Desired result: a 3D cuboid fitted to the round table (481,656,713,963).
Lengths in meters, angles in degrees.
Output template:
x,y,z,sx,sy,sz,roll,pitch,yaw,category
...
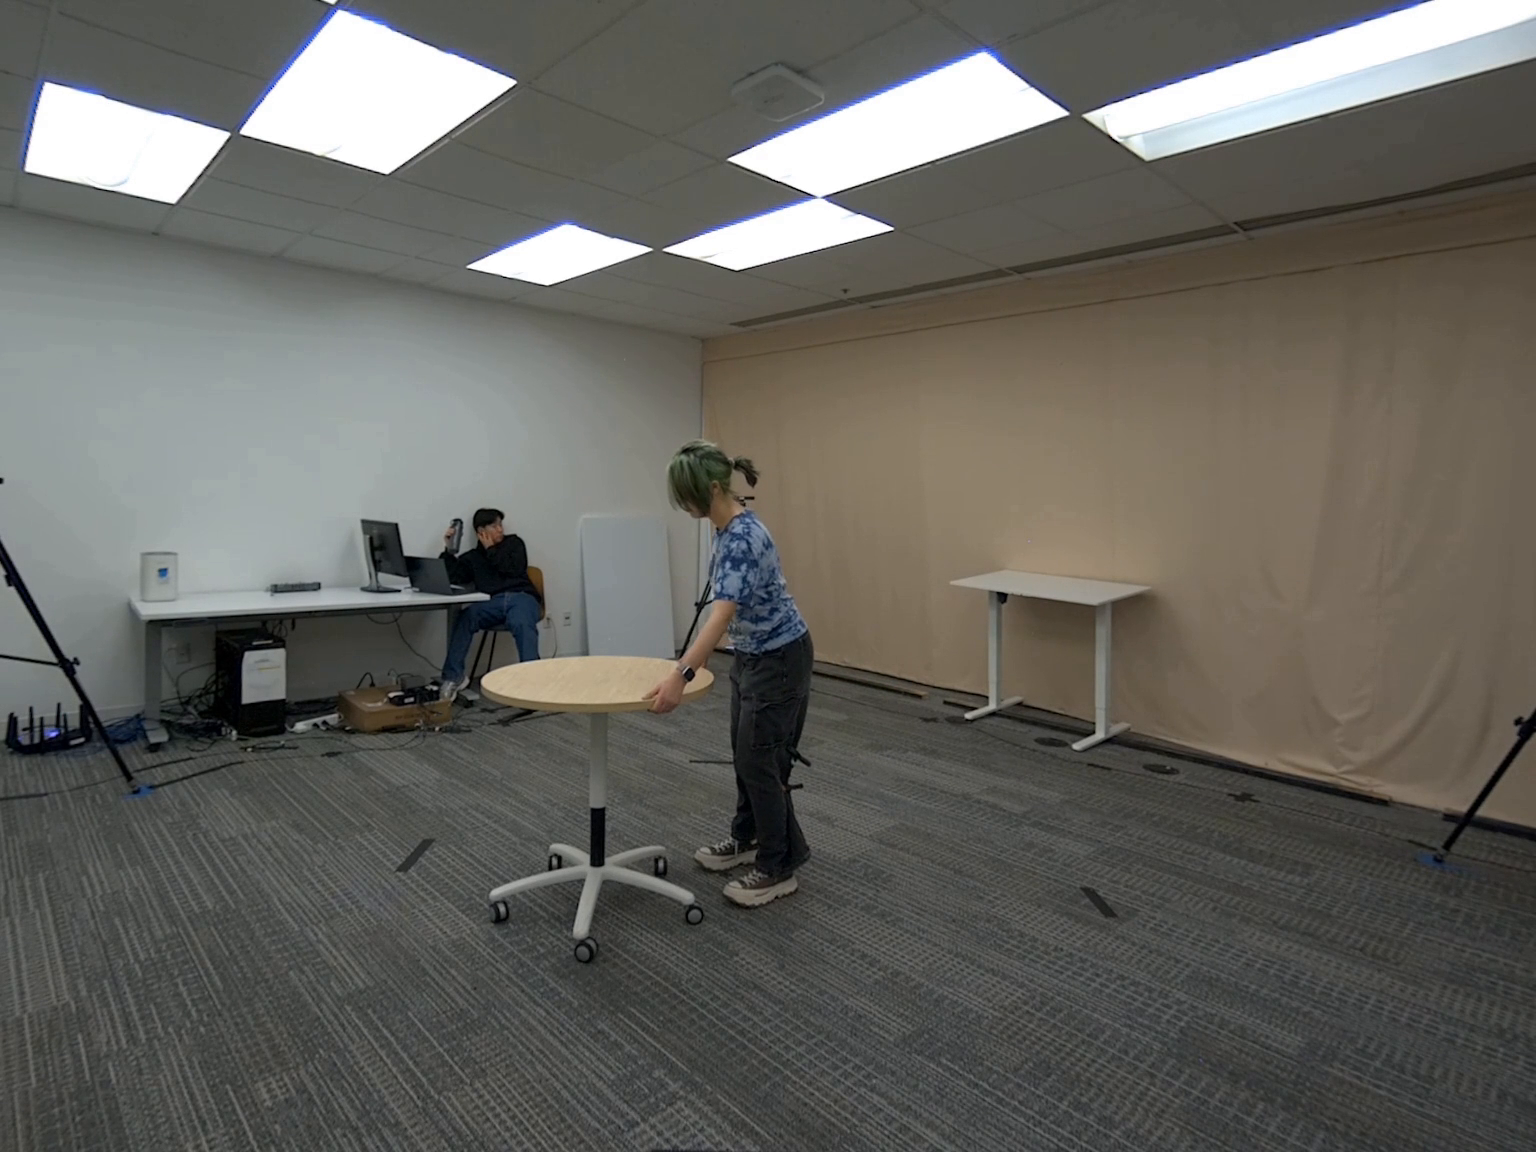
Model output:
x,y,z,sx,sy,sz,roll,pitch,yaw,category
-0.579,0.732,2.827,0.763,0.792,0.766,1,4,-1,round table
